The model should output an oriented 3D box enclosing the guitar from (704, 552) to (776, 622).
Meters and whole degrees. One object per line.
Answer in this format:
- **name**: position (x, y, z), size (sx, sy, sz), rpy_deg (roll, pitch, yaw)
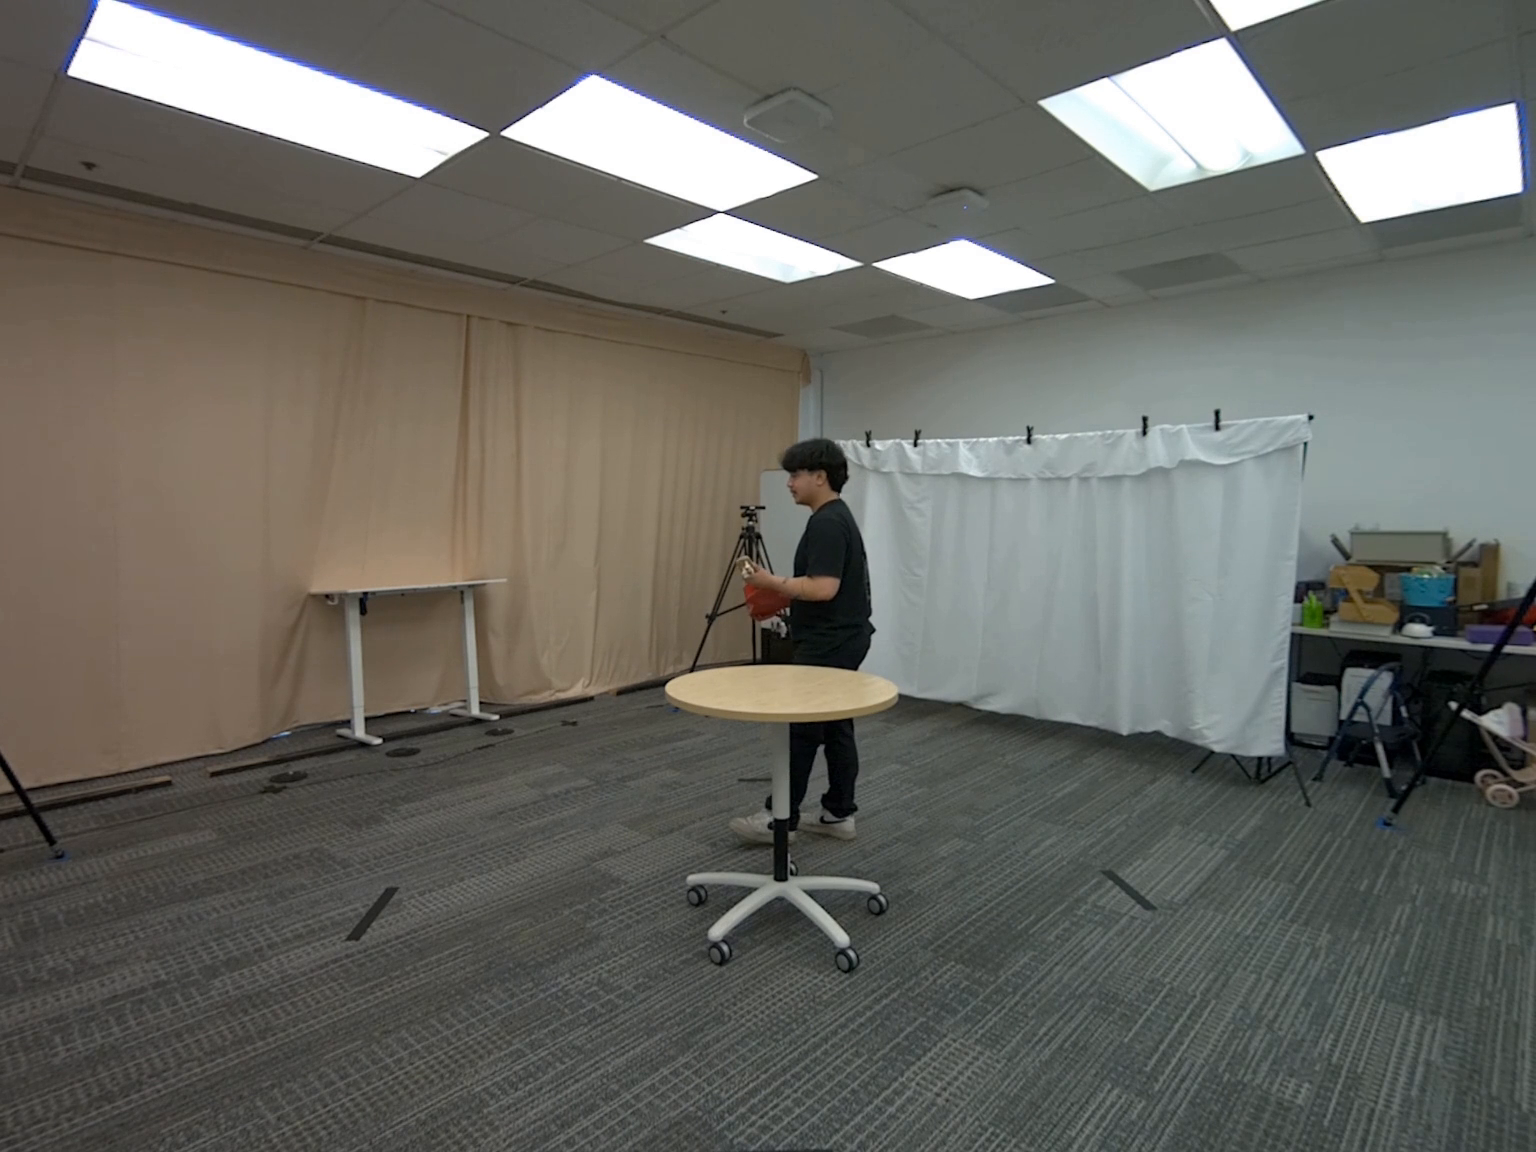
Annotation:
- **guitar**: position (-0.060, 0.053, 3.482), size (0.195, 0.072, 0.481), rpy_deg (-25, -27, 16)
